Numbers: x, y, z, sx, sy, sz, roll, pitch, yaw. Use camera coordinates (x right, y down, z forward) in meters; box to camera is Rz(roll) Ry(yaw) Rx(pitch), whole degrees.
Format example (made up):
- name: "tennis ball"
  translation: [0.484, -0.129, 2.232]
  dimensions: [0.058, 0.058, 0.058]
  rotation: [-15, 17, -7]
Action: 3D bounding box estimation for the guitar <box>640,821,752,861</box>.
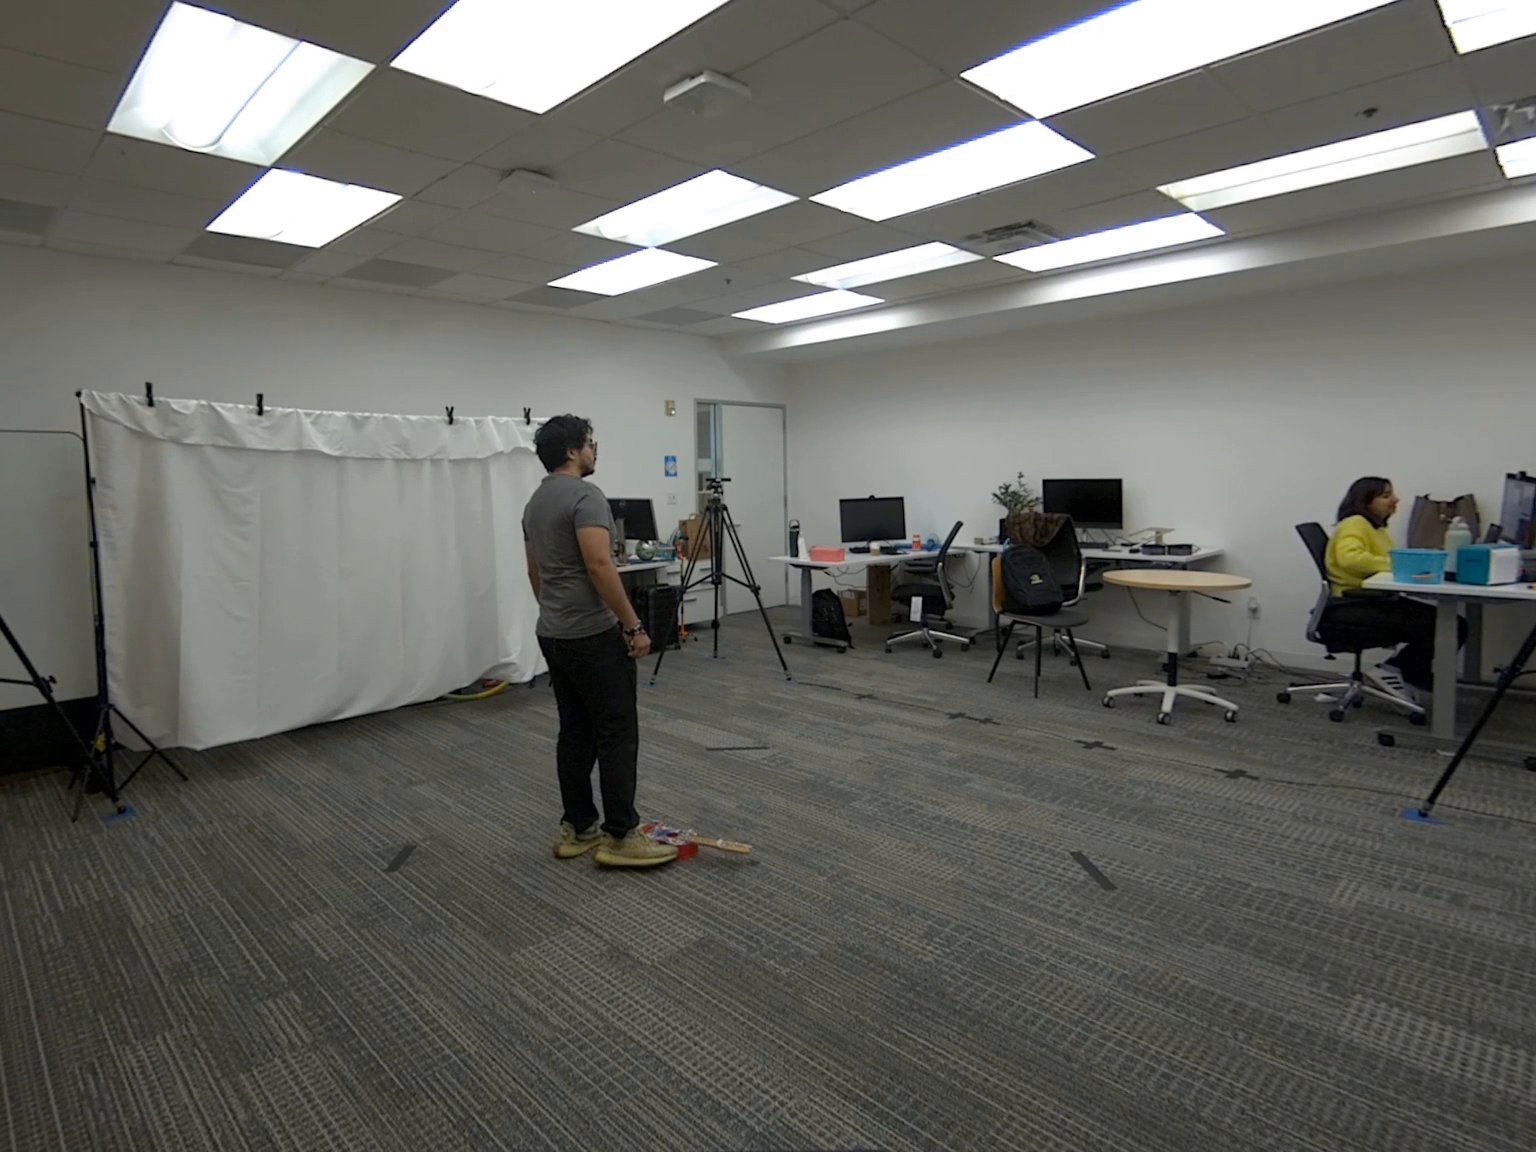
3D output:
- name: "guitar"
  translation: [-0.304, 1.002, 3.159]
  dimensions: [0.512, 0.070, 0.188]
  rotation: [3, 7, 33]
